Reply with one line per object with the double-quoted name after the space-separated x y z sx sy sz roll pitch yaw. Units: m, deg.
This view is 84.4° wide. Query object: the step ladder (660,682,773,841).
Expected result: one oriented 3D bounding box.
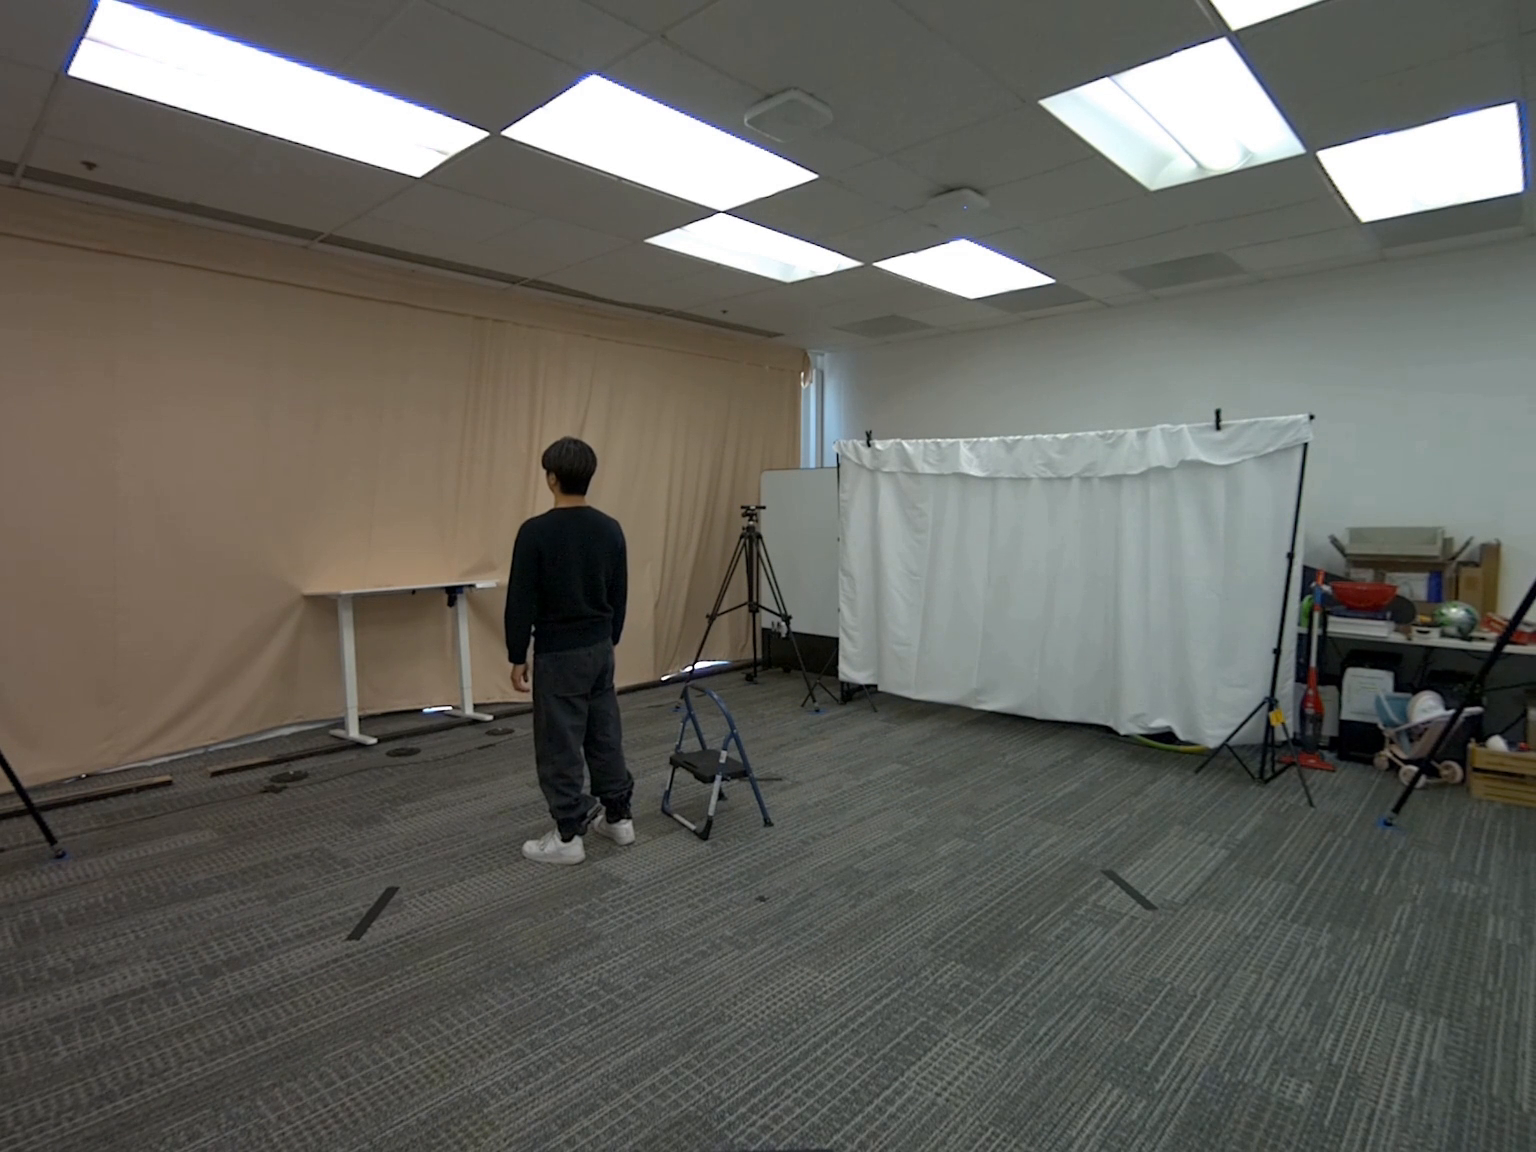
-0.239 0.777 3.745 0.339 0.605 0.443 -2 3 -32 "step ladder"
